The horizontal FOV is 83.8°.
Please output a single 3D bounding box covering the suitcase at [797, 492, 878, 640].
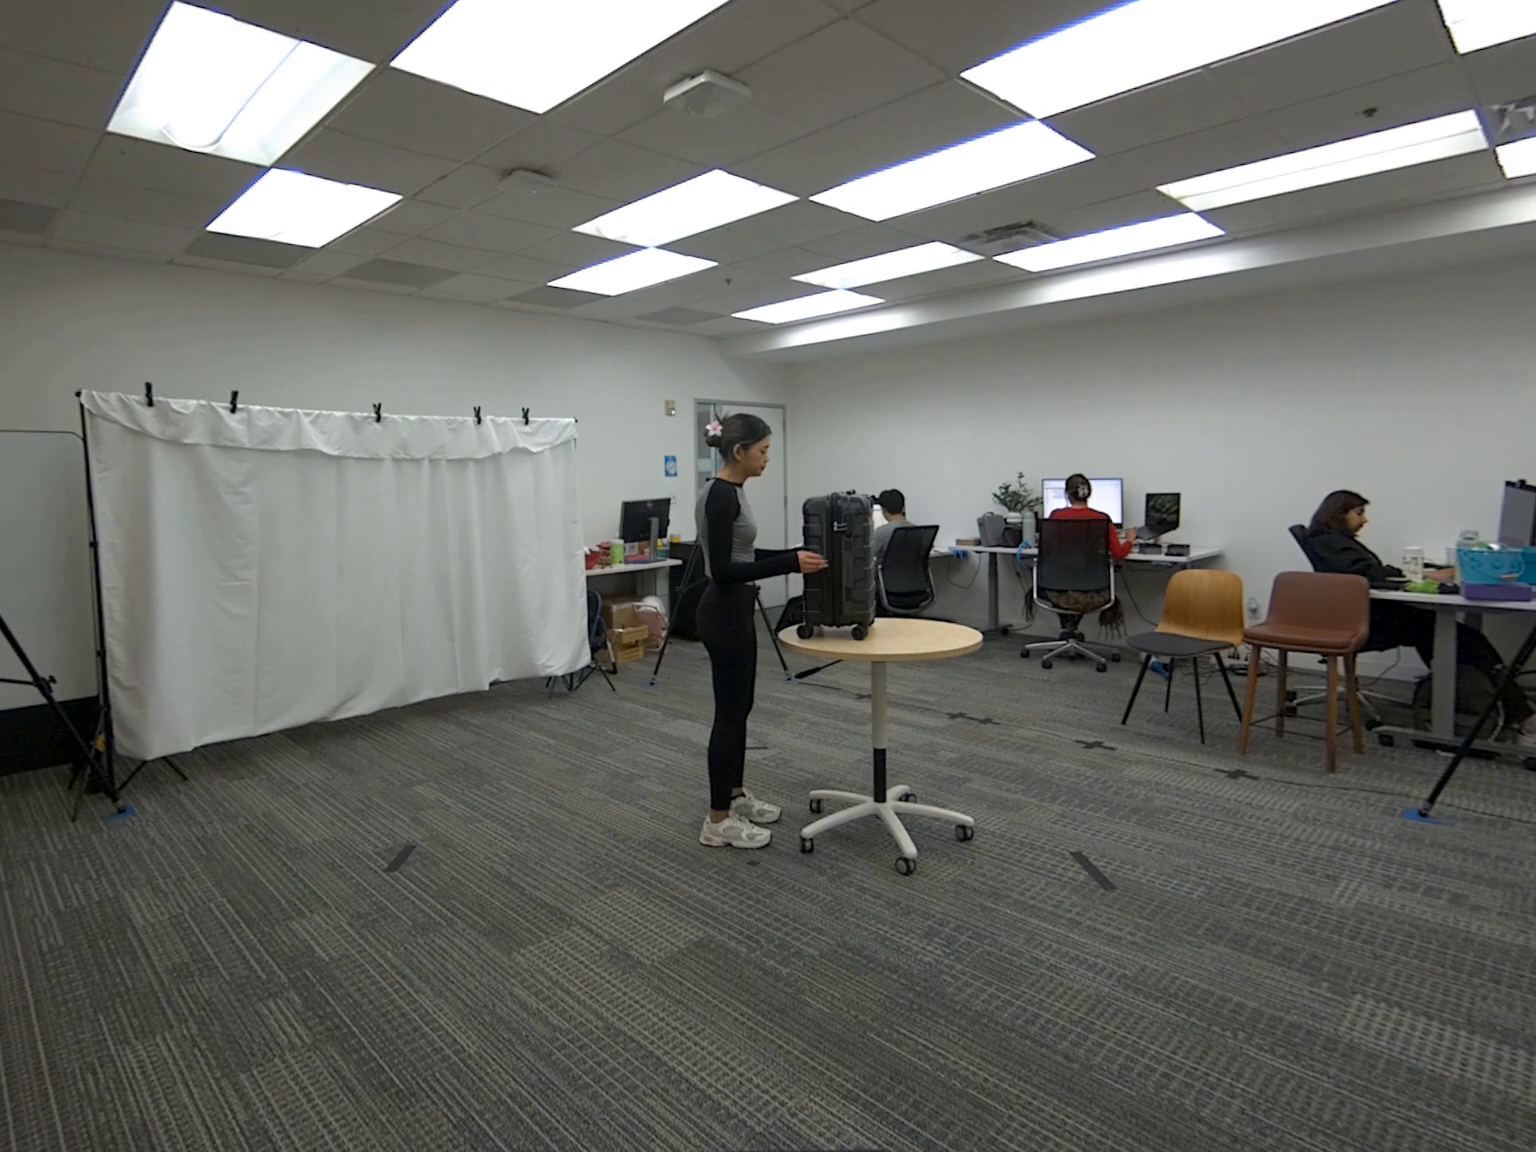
[{"bbox_3d":[0.272,-0.057,3.296,0.251,0.547,0.372,1,5,12],"label":"suitcase"}]
